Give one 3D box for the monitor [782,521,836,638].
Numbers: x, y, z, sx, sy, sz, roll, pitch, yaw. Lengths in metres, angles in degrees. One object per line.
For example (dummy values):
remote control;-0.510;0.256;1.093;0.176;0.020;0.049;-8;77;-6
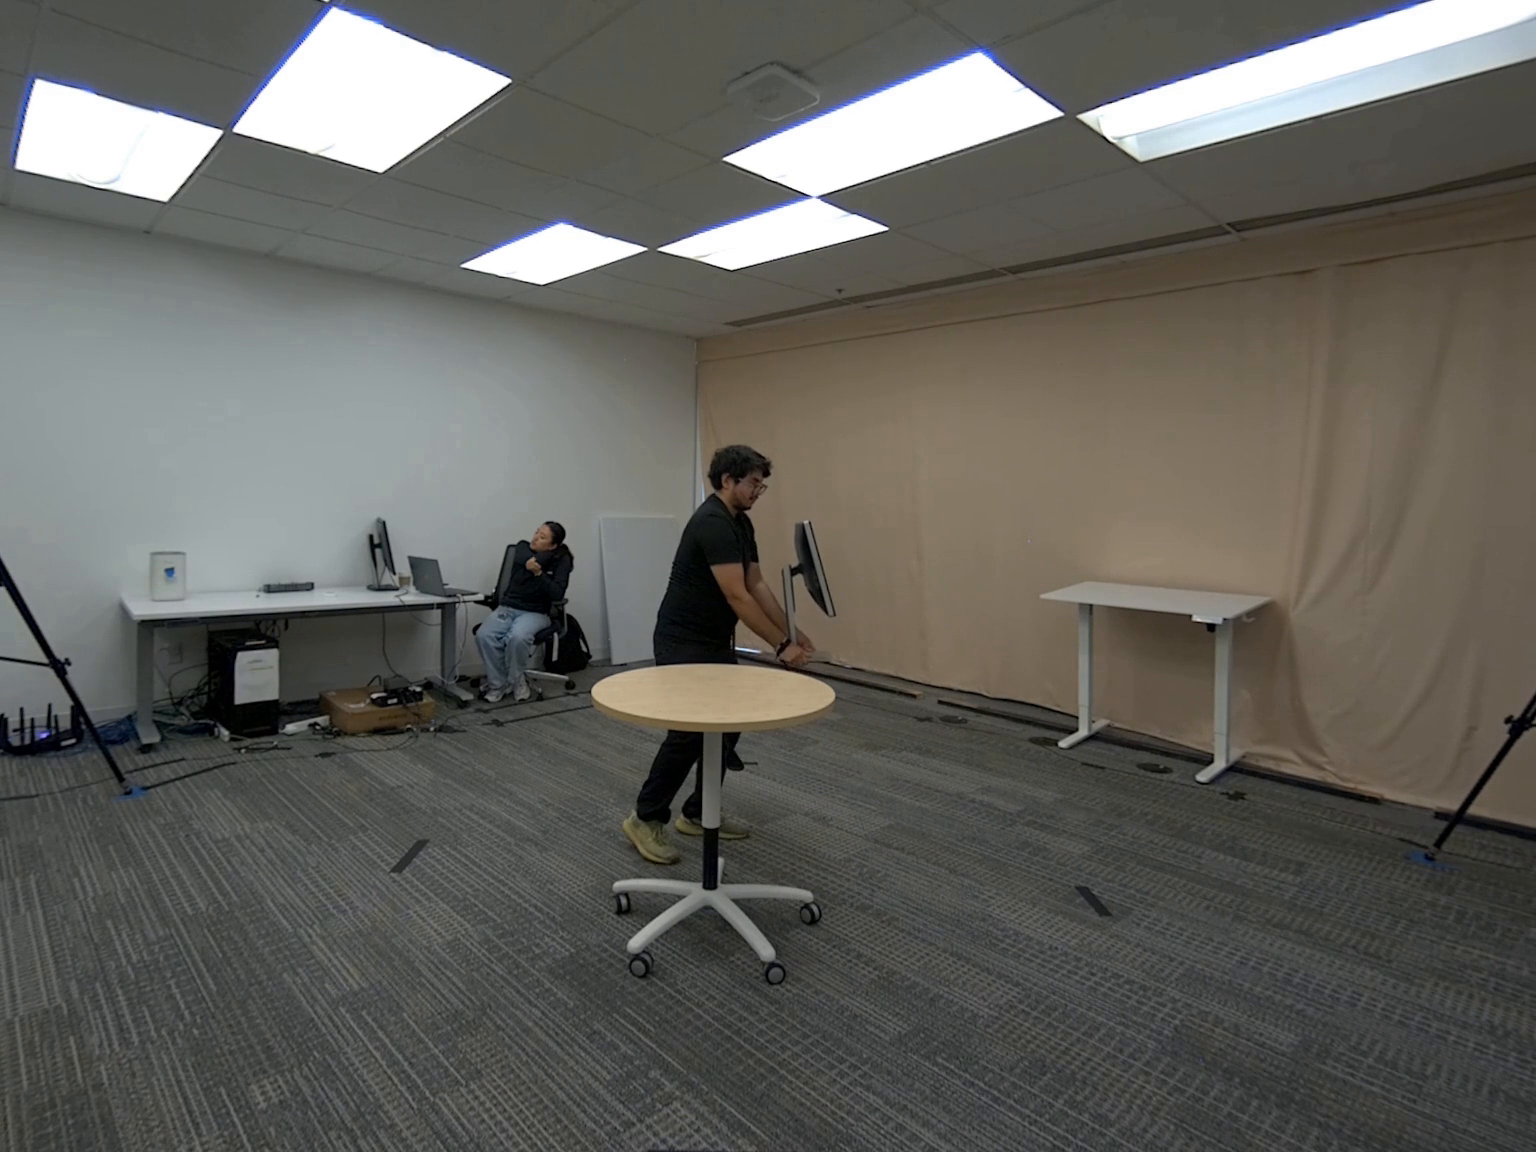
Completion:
monitor;0.110;0.060;3.335;0.210;0.554;0.566;-7;1;-1
